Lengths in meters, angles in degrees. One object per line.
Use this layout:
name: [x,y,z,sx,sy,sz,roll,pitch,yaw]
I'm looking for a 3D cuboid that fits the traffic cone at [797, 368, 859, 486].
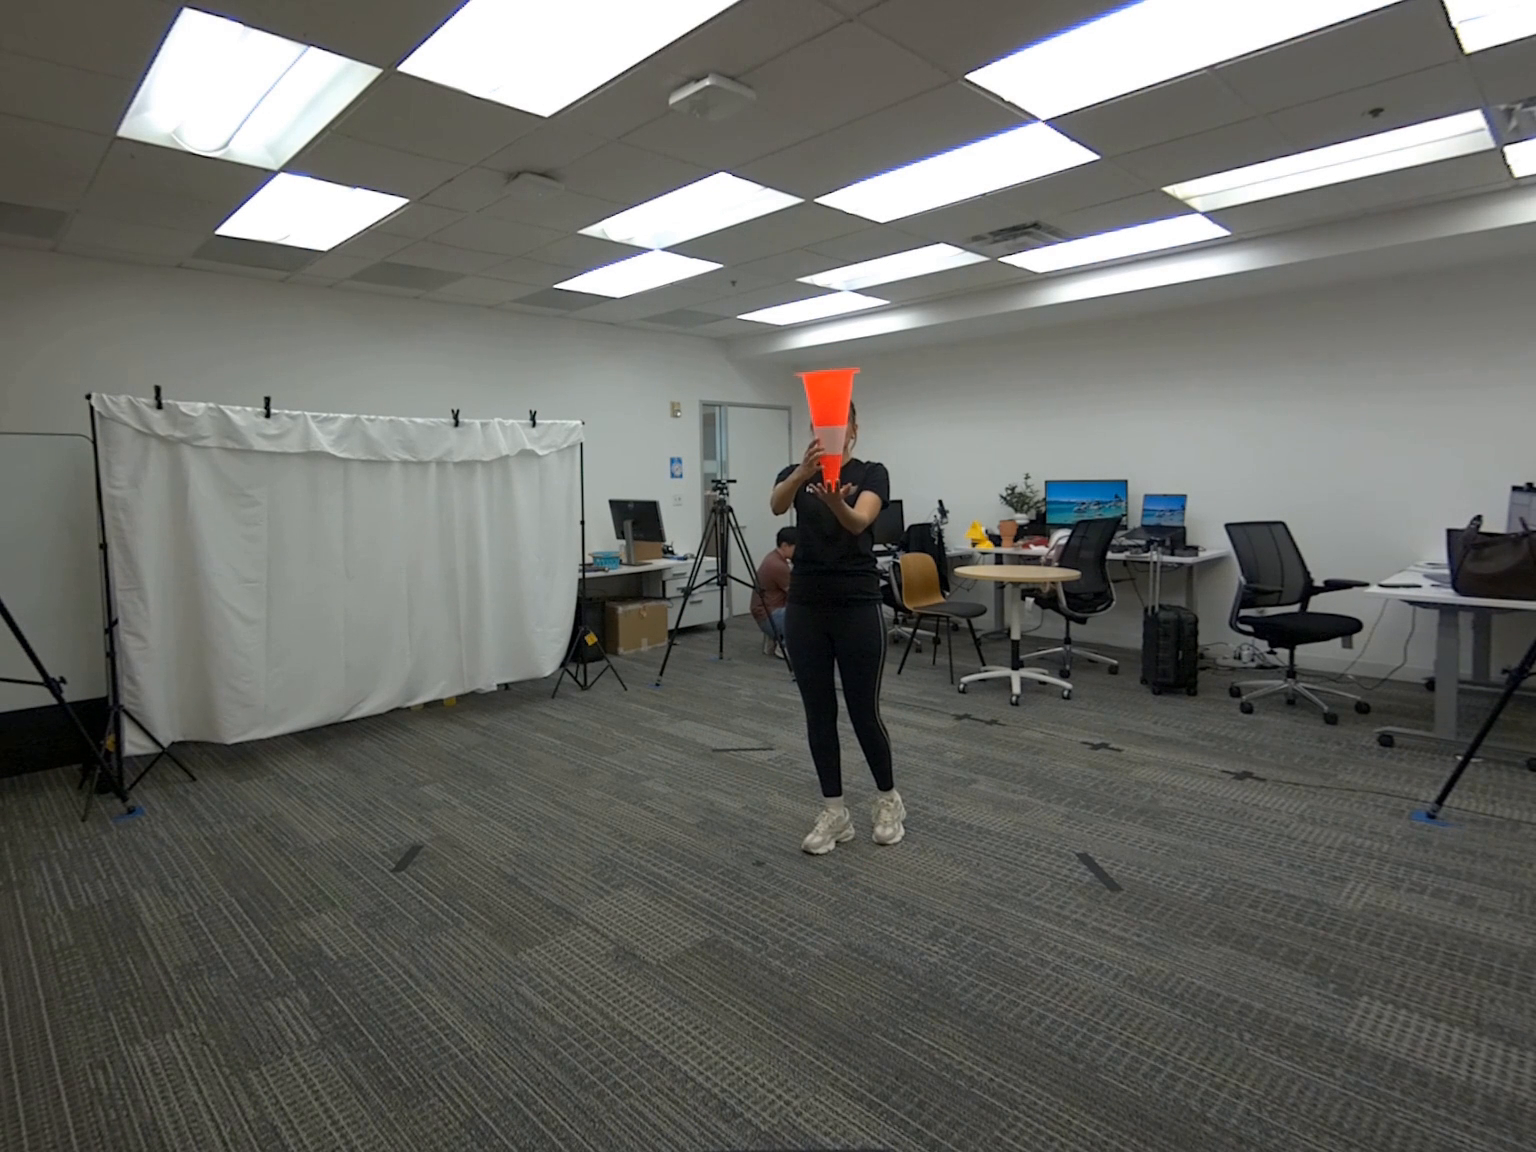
traffic cone: [0.207,-0.452,2.703,0.207,0.381,0.203,-3,6,9]
